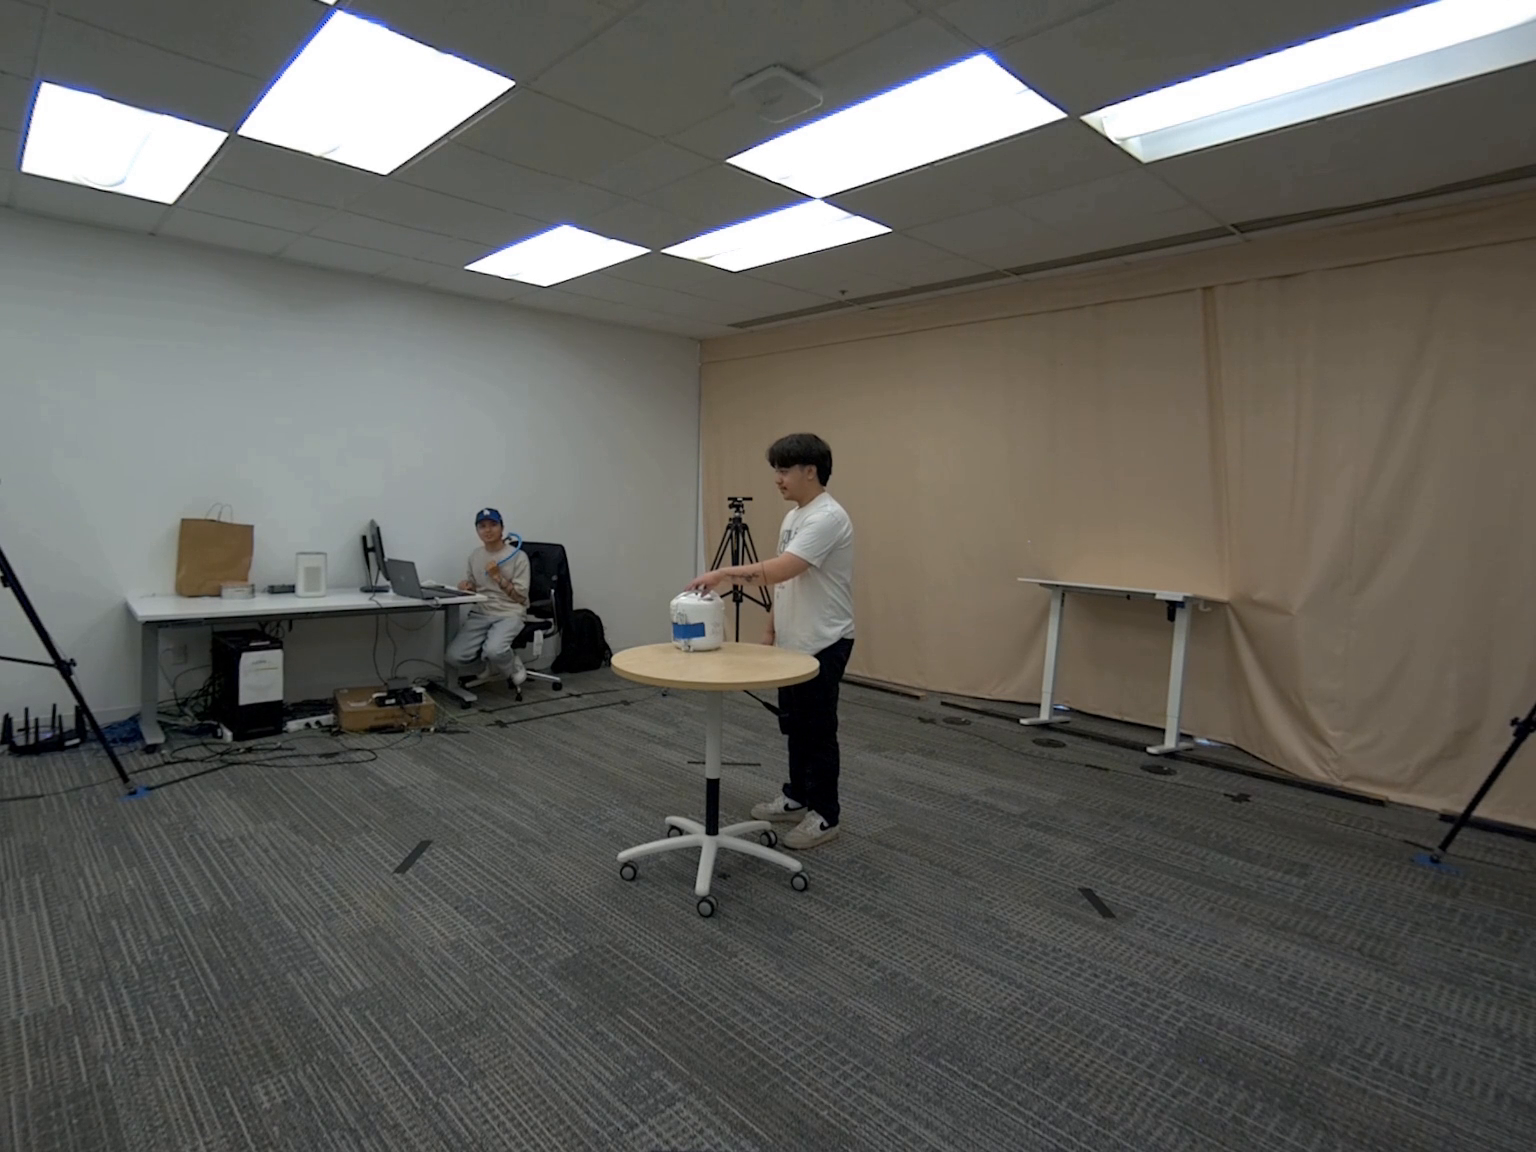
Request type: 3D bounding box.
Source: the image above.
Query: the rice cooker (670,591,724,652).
[{"bbox_3d":[-0.288,0.169,3.338,0.217,0.232,0.221,1,5,-22],"label":"rice cooker"}]
